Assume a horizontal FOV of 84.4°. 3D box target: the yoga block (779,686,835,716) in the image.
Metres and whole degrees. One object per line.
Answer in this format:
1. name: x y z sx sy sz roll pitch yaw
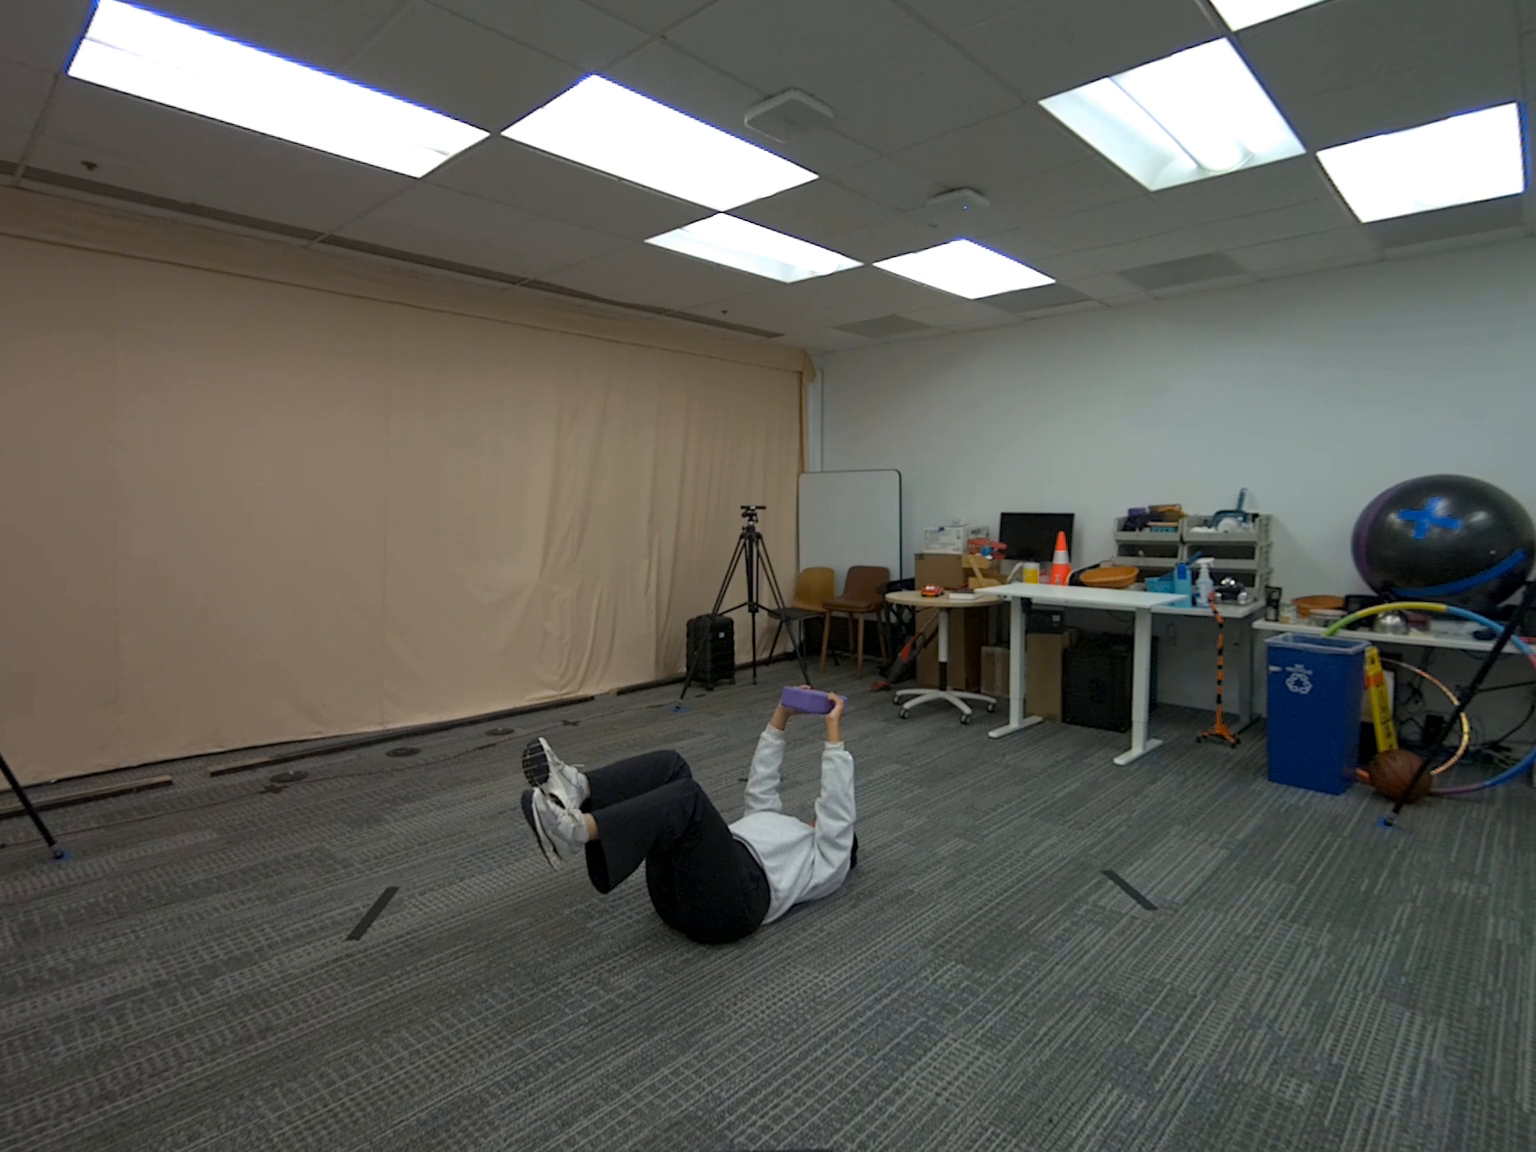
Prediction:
1. yoga block: 0.185 0.479 3.219 0.154 0.076 0.221 8 -5 41
